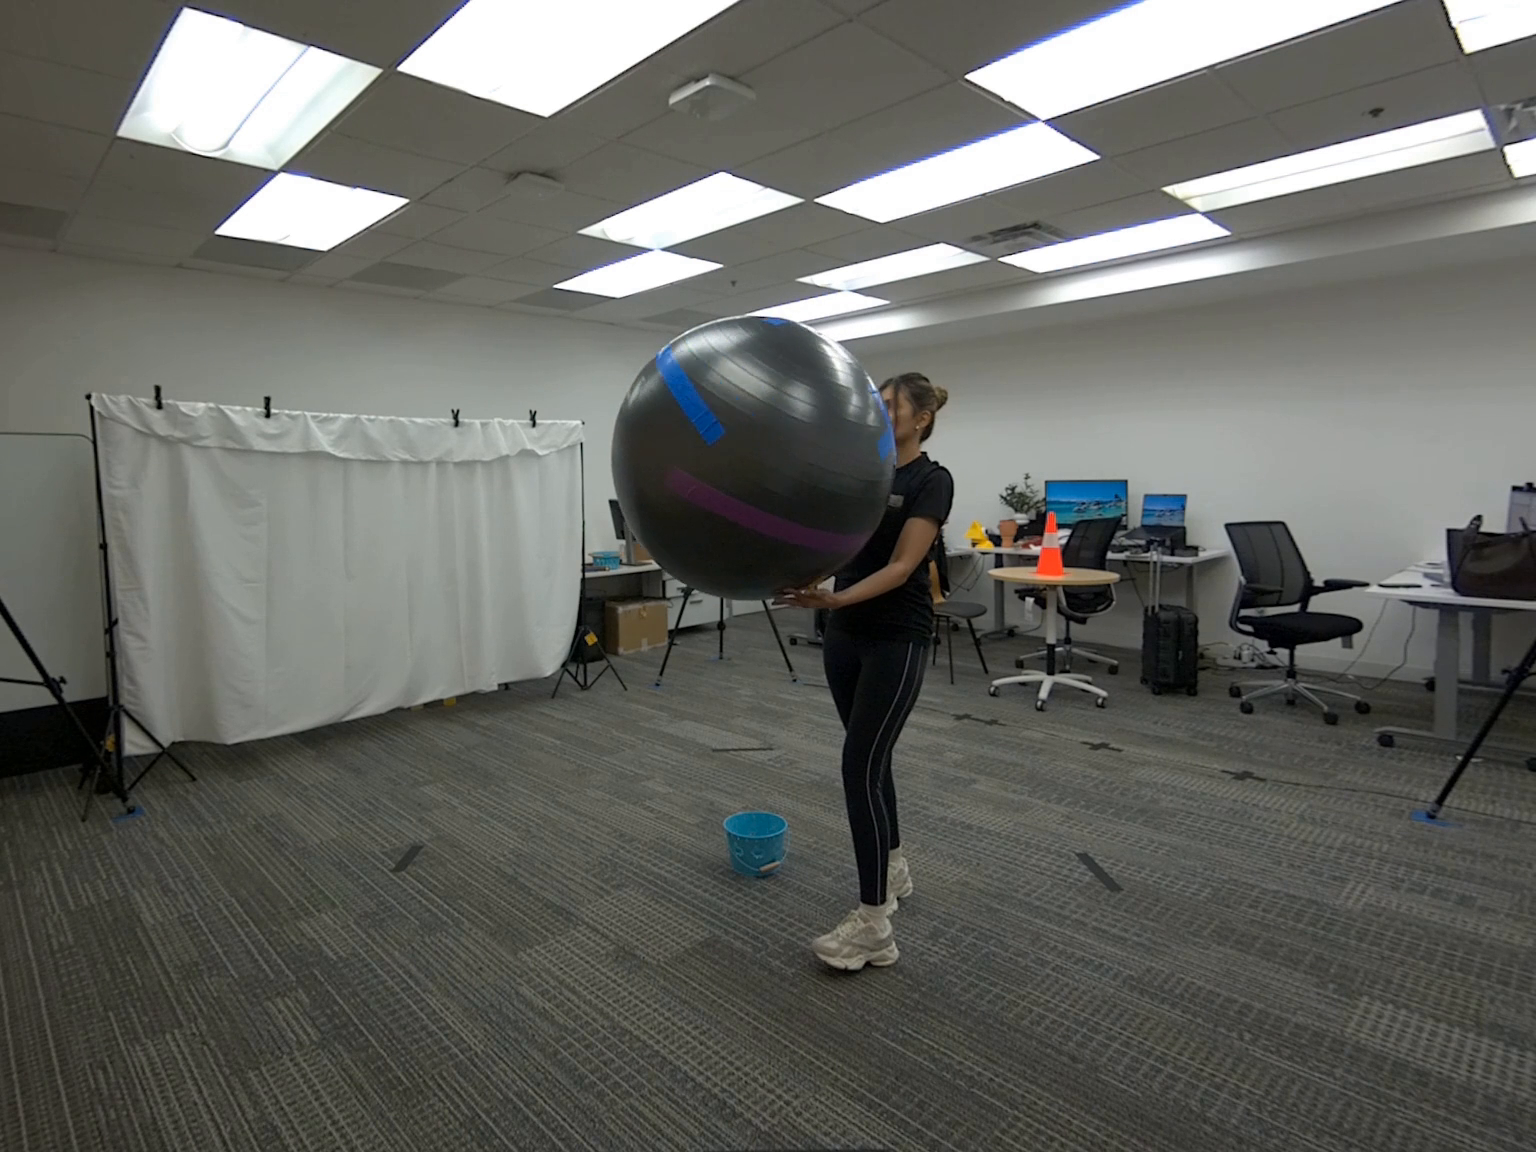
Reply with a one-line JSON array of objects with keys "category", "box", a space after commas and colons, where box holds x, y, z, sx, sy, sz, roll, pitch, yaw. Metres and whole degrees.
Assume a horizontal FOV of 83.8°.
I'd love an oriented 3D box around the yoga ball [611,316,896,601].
[{"category": "yoga ball", "box": [-0.042, -0.307, 2.292, 0.757, 0.755, 0.762, -1, 5, -2]}]
